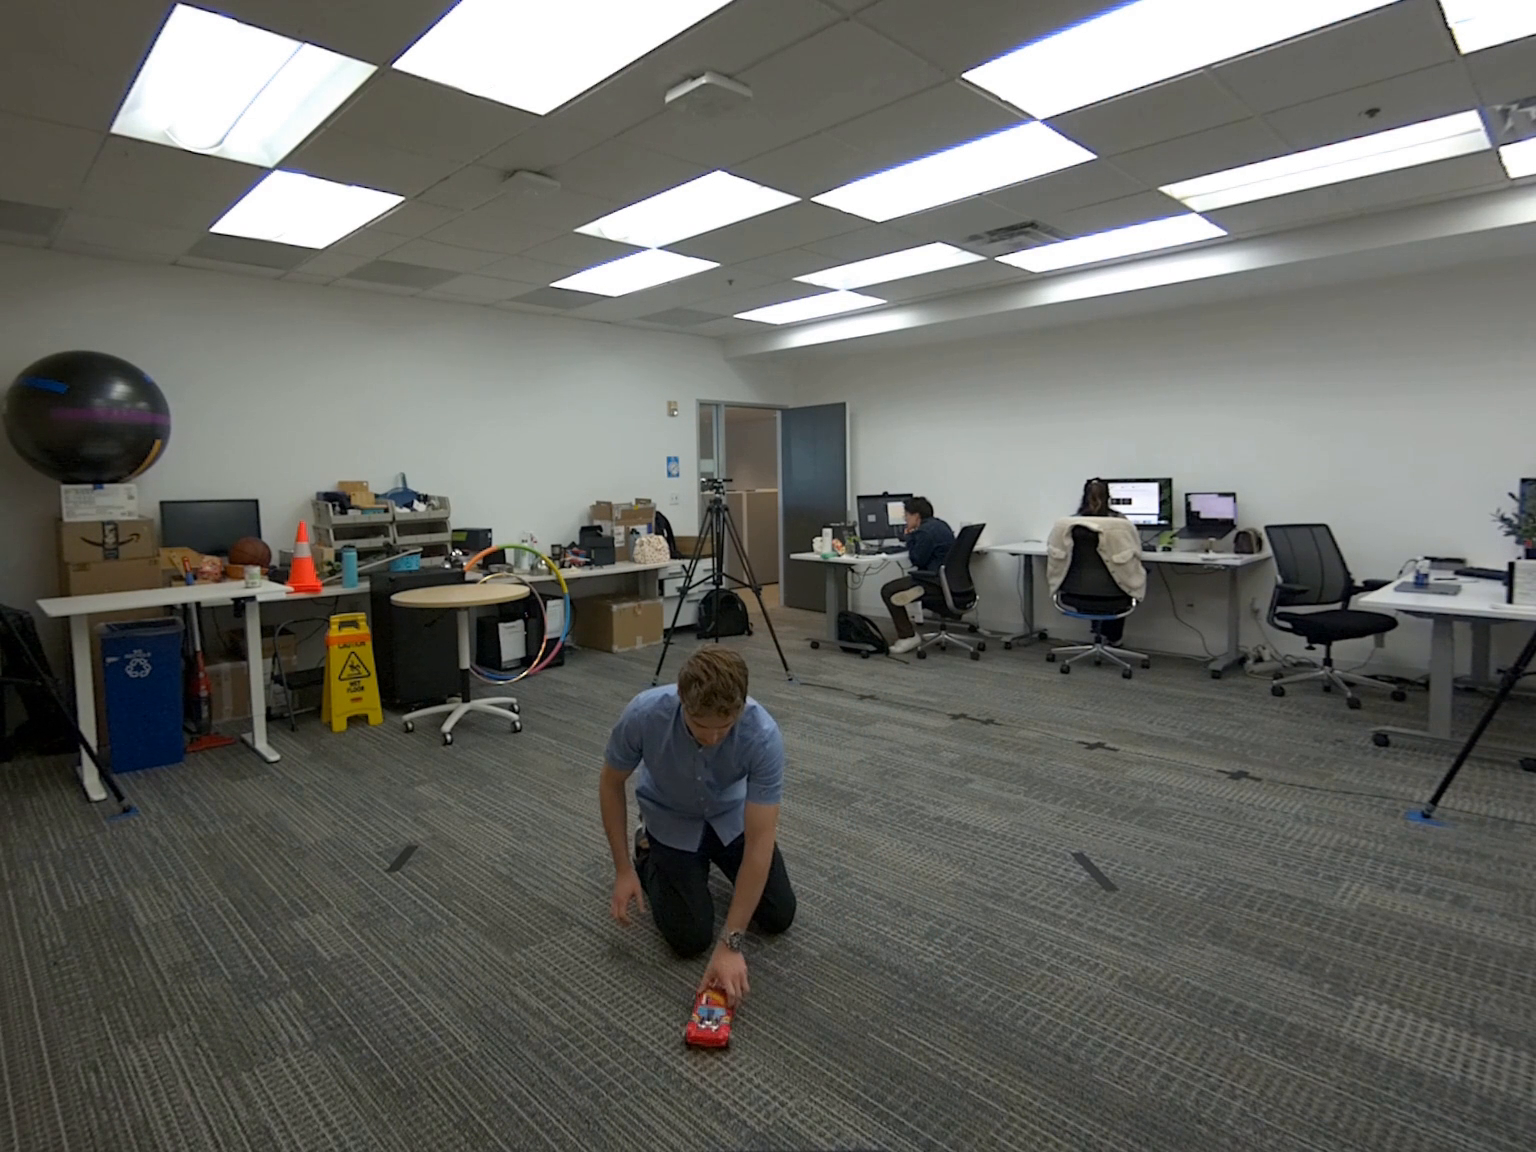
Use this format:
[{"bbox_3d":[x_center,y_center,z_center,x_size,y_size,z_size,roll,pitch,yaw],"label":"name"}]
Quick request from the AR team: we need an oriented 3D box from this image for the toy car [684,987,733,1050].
[{"bbox_3d":[-0.127,1.126,2.207,0.131,0.082,0.256,-1,17,7],"label":"toy car"}]
